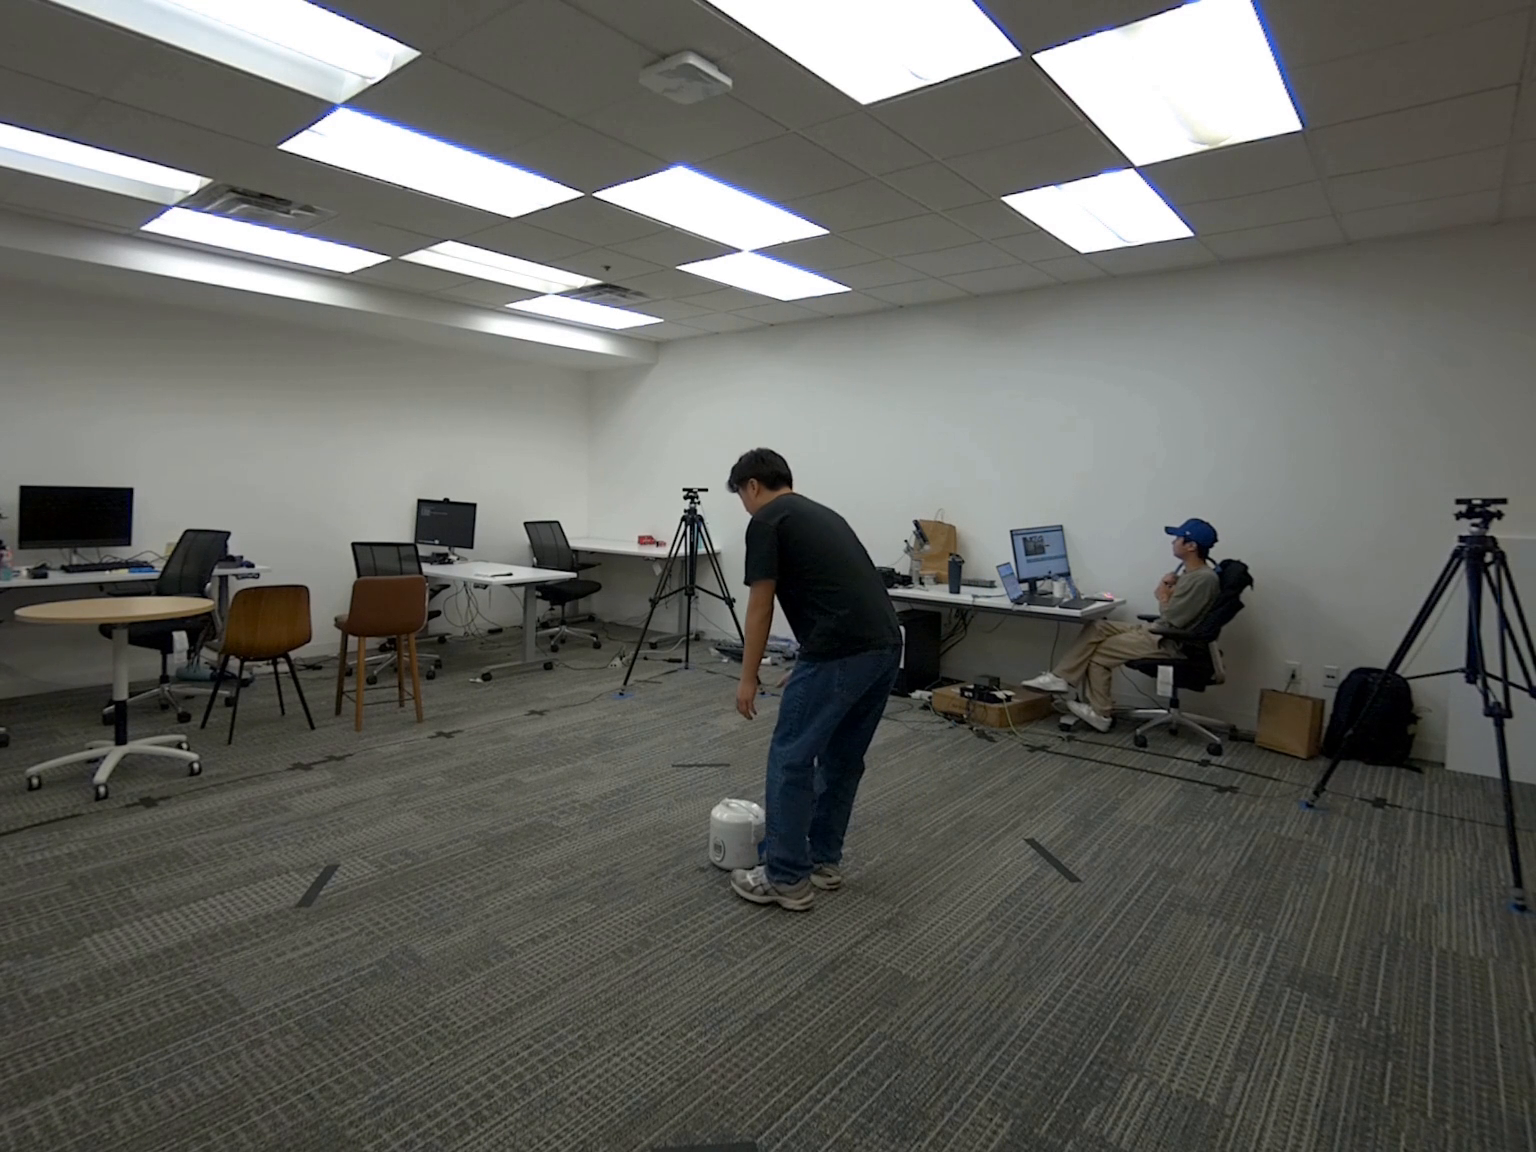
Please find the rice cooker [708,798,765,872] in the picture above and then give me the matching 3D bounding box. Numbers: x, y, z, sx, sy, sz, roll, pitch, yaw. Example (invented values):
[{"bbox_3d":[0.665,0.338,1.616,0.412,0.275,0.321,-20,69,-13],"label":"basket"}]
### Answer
[{"bbox_3d":[-0.124,0.950,3.169,0.228,0.232,0.211,5,4,41],"label":"rice cooker"}]
